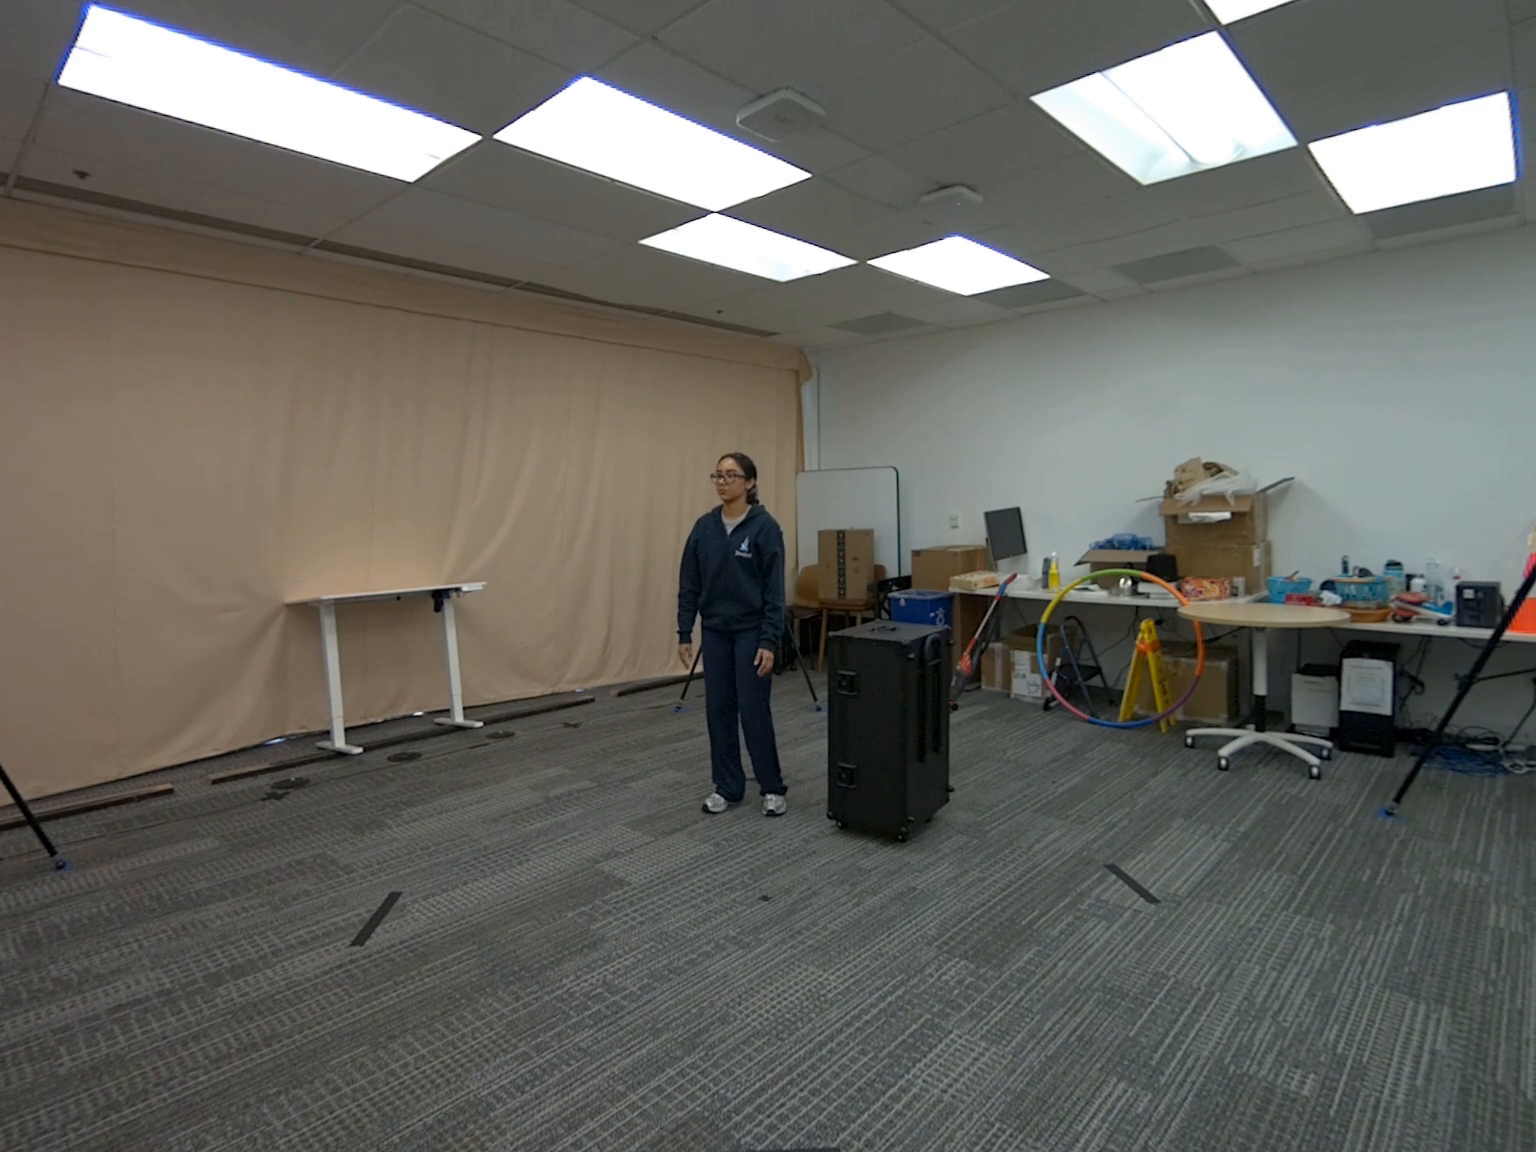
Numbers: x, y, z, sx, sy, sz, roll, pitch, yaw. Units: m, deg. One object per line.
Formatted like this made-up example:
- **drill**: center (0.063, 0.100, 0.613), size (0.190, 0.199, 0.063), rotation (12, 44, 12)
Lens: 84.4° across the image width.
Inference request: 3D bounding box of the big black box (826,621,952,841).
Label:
- **big black box**: center (0.542, 0.654, 3.609), size (0.409, 0.859, 0.506), rotation (4, 5, 34)
